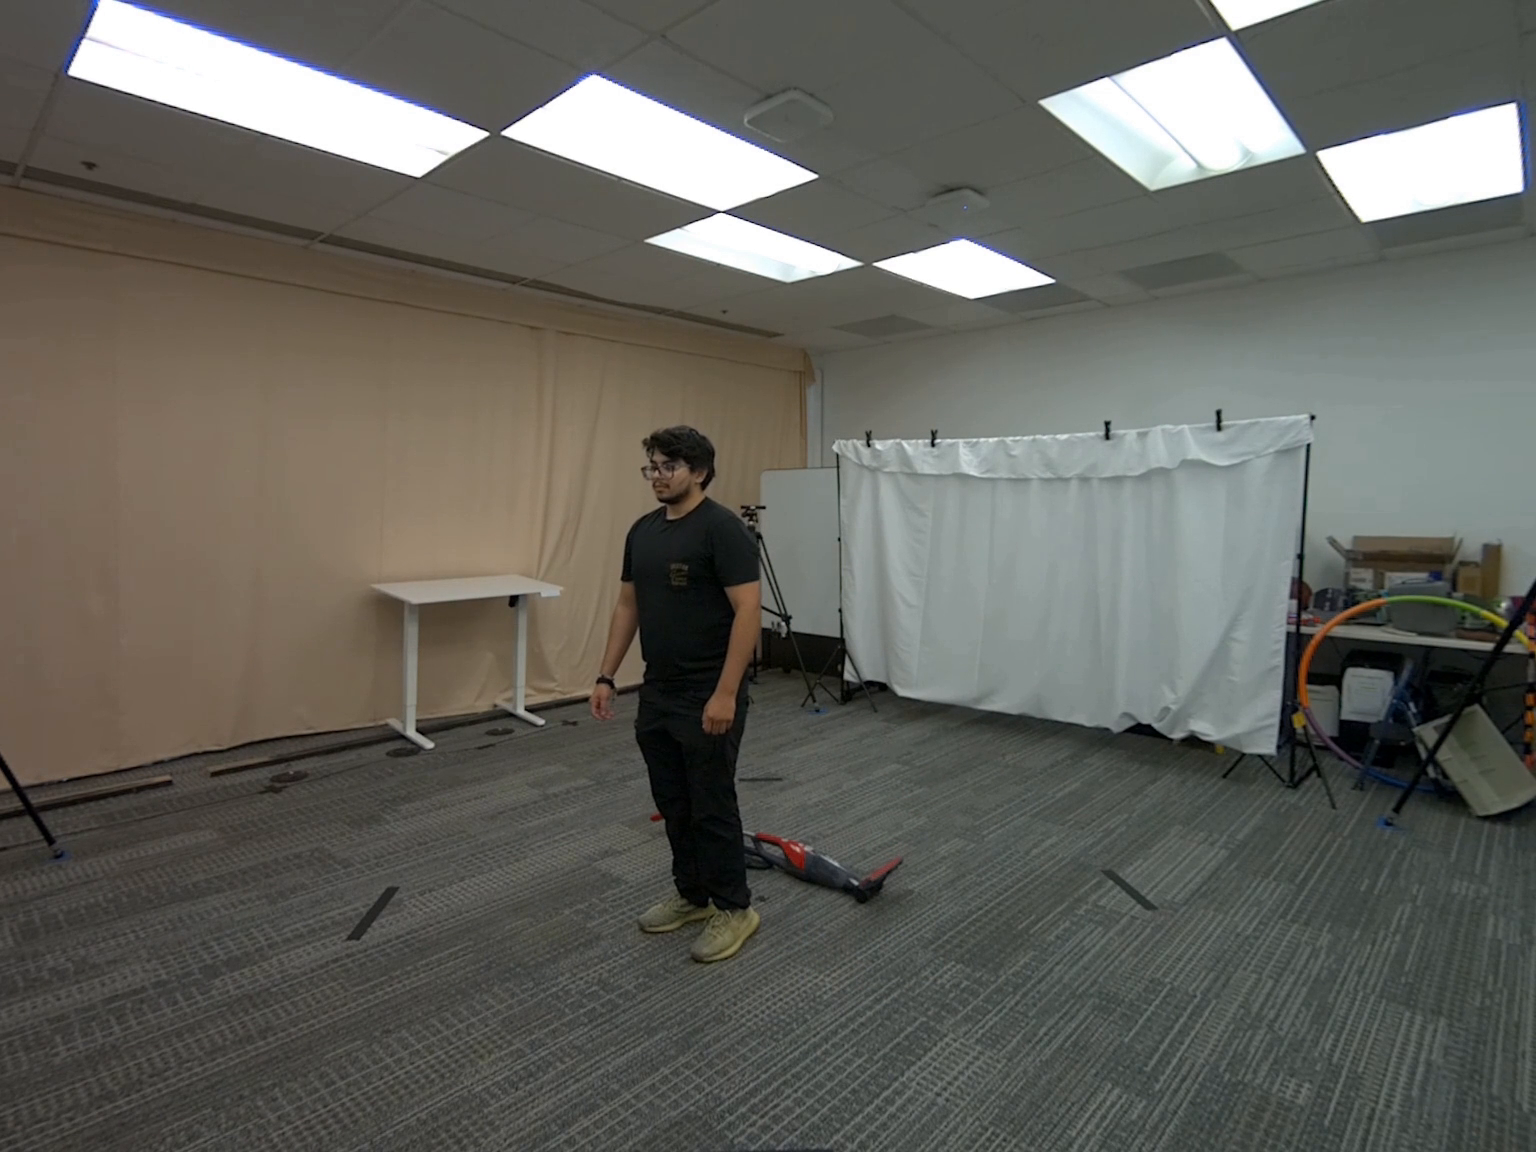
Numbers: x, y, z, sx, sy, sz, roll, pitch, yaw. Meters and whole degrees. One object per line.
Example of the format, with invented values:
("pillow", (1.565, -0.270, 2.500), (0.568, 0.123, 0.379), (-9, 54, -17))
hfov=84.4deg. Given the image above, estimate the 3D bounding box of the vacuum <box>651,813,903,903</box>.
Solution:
("vacuum", (-0.039, 1.059, 3.277), (1.083, 0.144, 0.245), (2, 5, 37))
